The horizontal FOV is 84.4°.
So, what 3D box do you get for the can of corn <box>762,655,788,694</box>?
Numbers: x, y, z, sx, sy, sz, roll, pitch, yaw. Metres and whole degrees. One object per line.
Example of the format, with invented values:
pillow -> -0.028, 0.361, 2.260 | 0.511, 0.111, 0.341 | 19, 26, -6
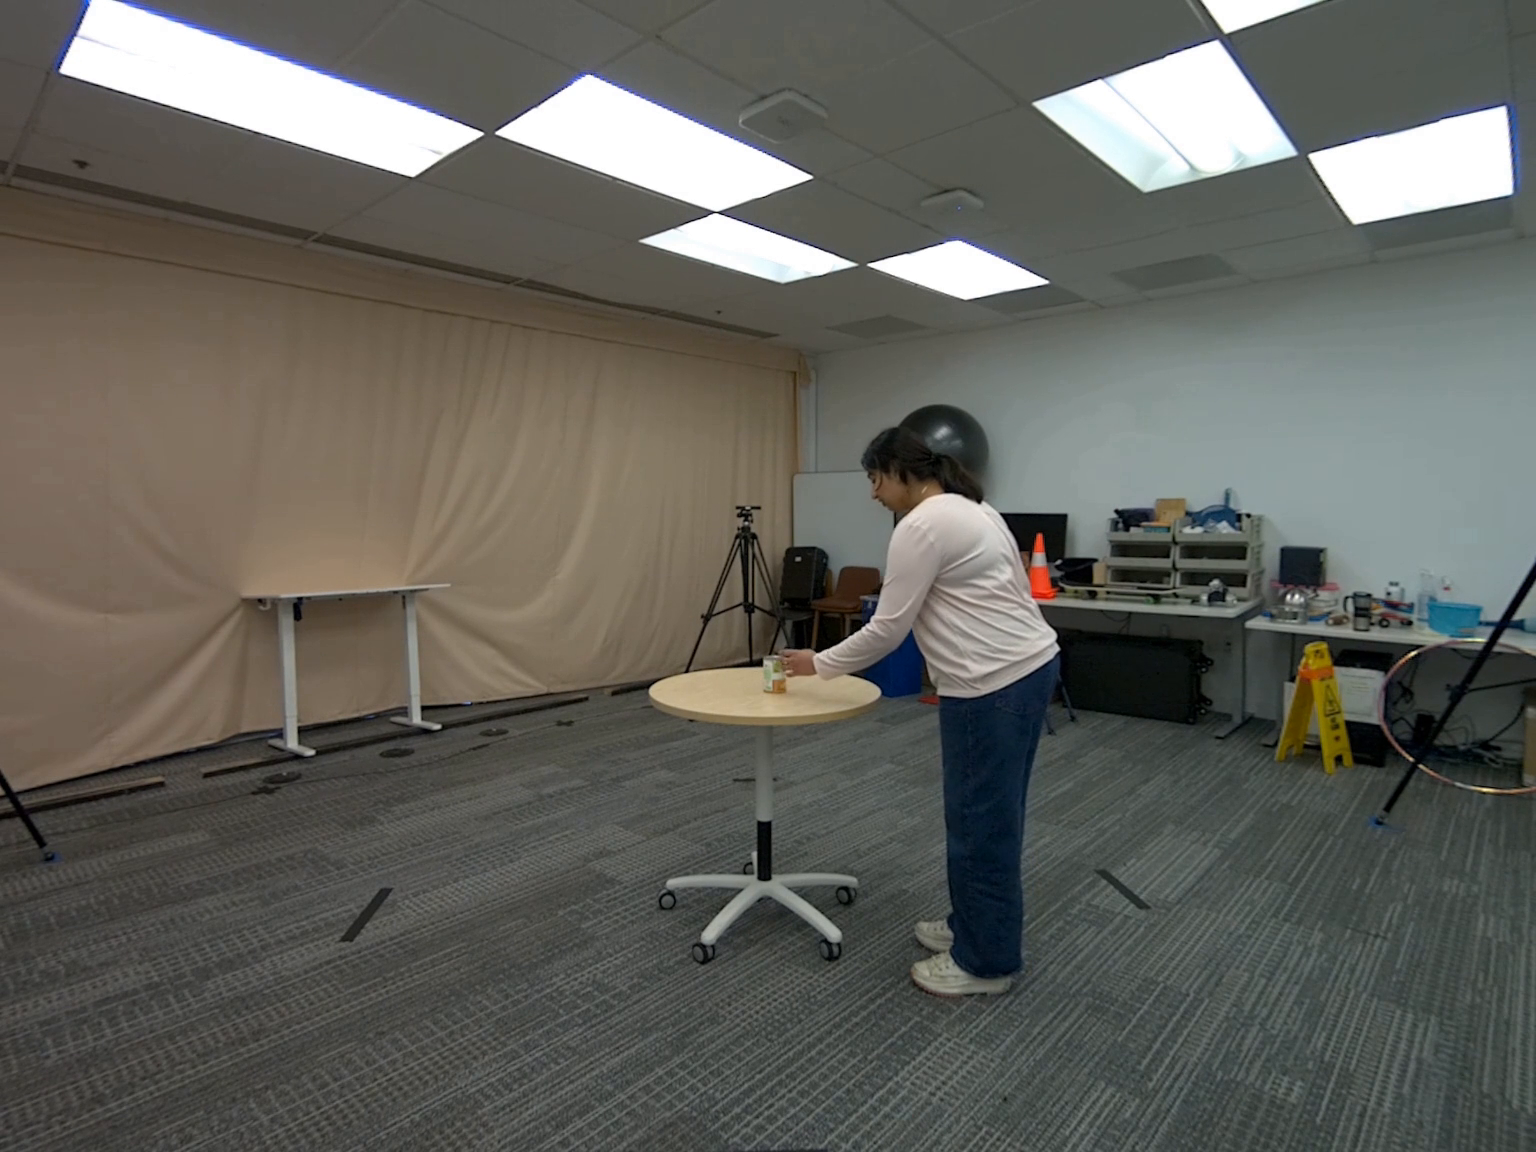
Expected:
can of corn -> 0.024, 0.326, 2.750 | 0.074, 0.111, 0.074 | 1, 2, -2
